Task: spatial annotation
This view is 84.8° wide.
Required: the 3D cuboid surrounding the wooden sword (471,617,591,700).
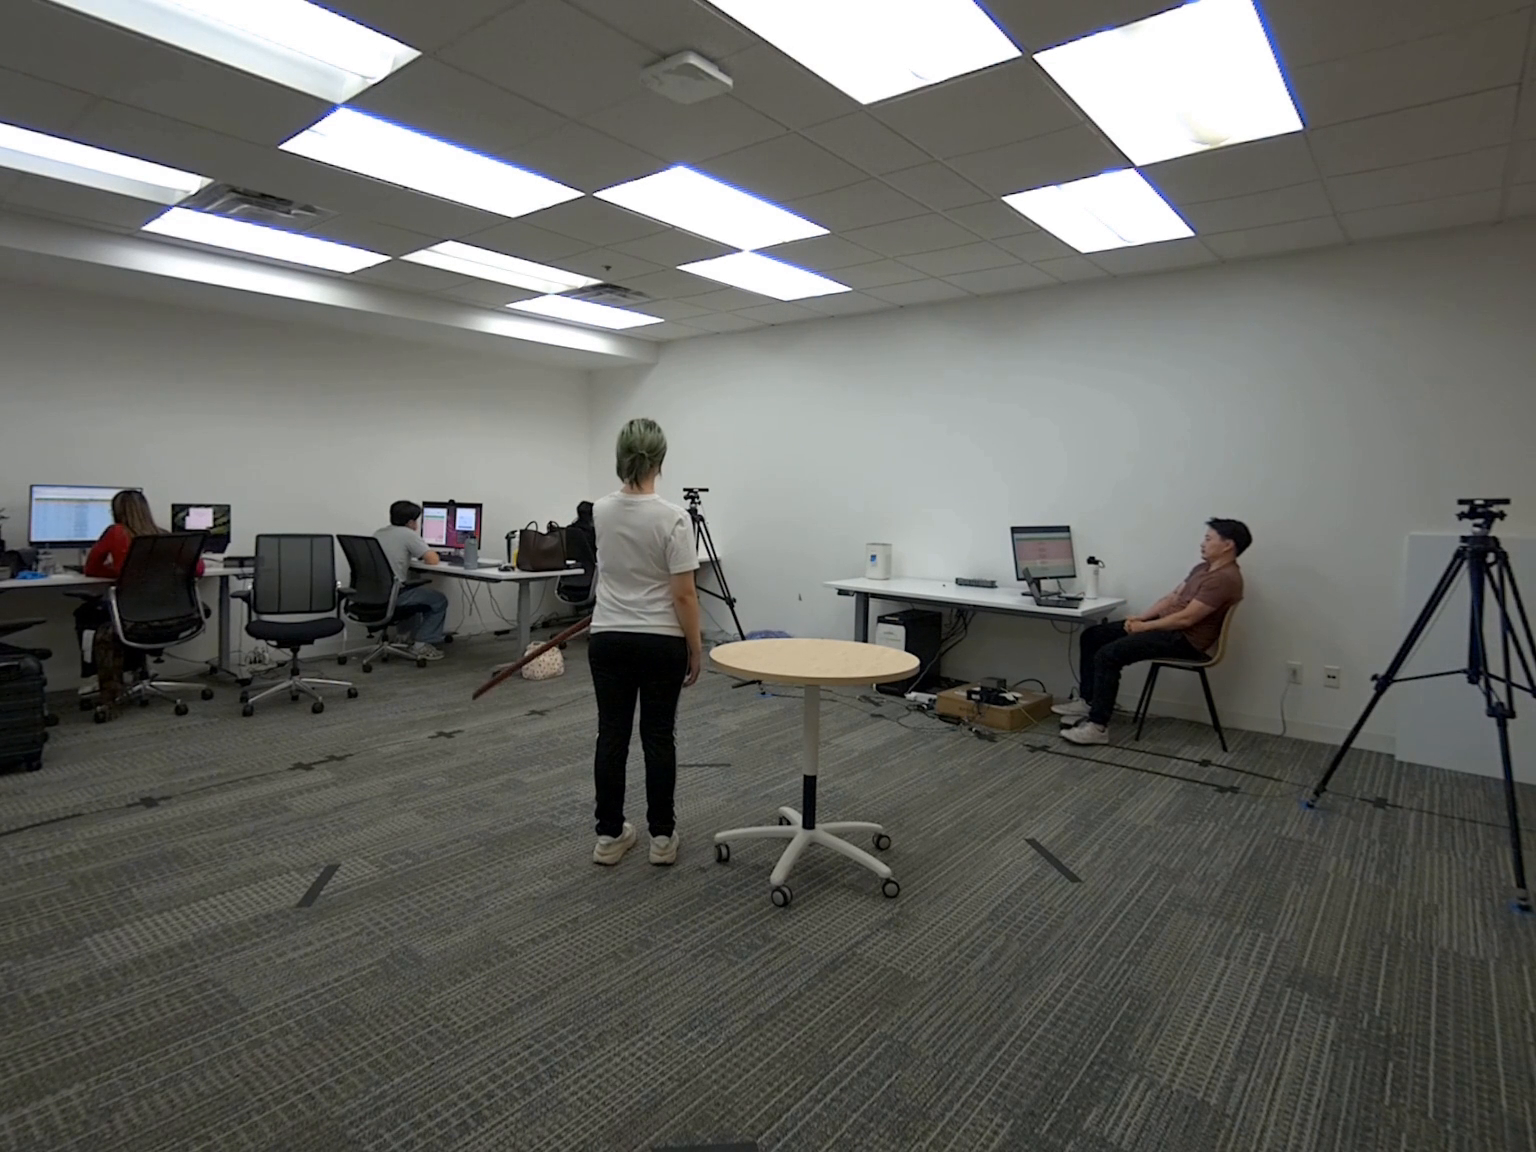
[{"bbox_3d":[-0.806,0.219,3.567,1.019,0.049,0.025,-34,31,-15],"label":"wooden sword"}]
